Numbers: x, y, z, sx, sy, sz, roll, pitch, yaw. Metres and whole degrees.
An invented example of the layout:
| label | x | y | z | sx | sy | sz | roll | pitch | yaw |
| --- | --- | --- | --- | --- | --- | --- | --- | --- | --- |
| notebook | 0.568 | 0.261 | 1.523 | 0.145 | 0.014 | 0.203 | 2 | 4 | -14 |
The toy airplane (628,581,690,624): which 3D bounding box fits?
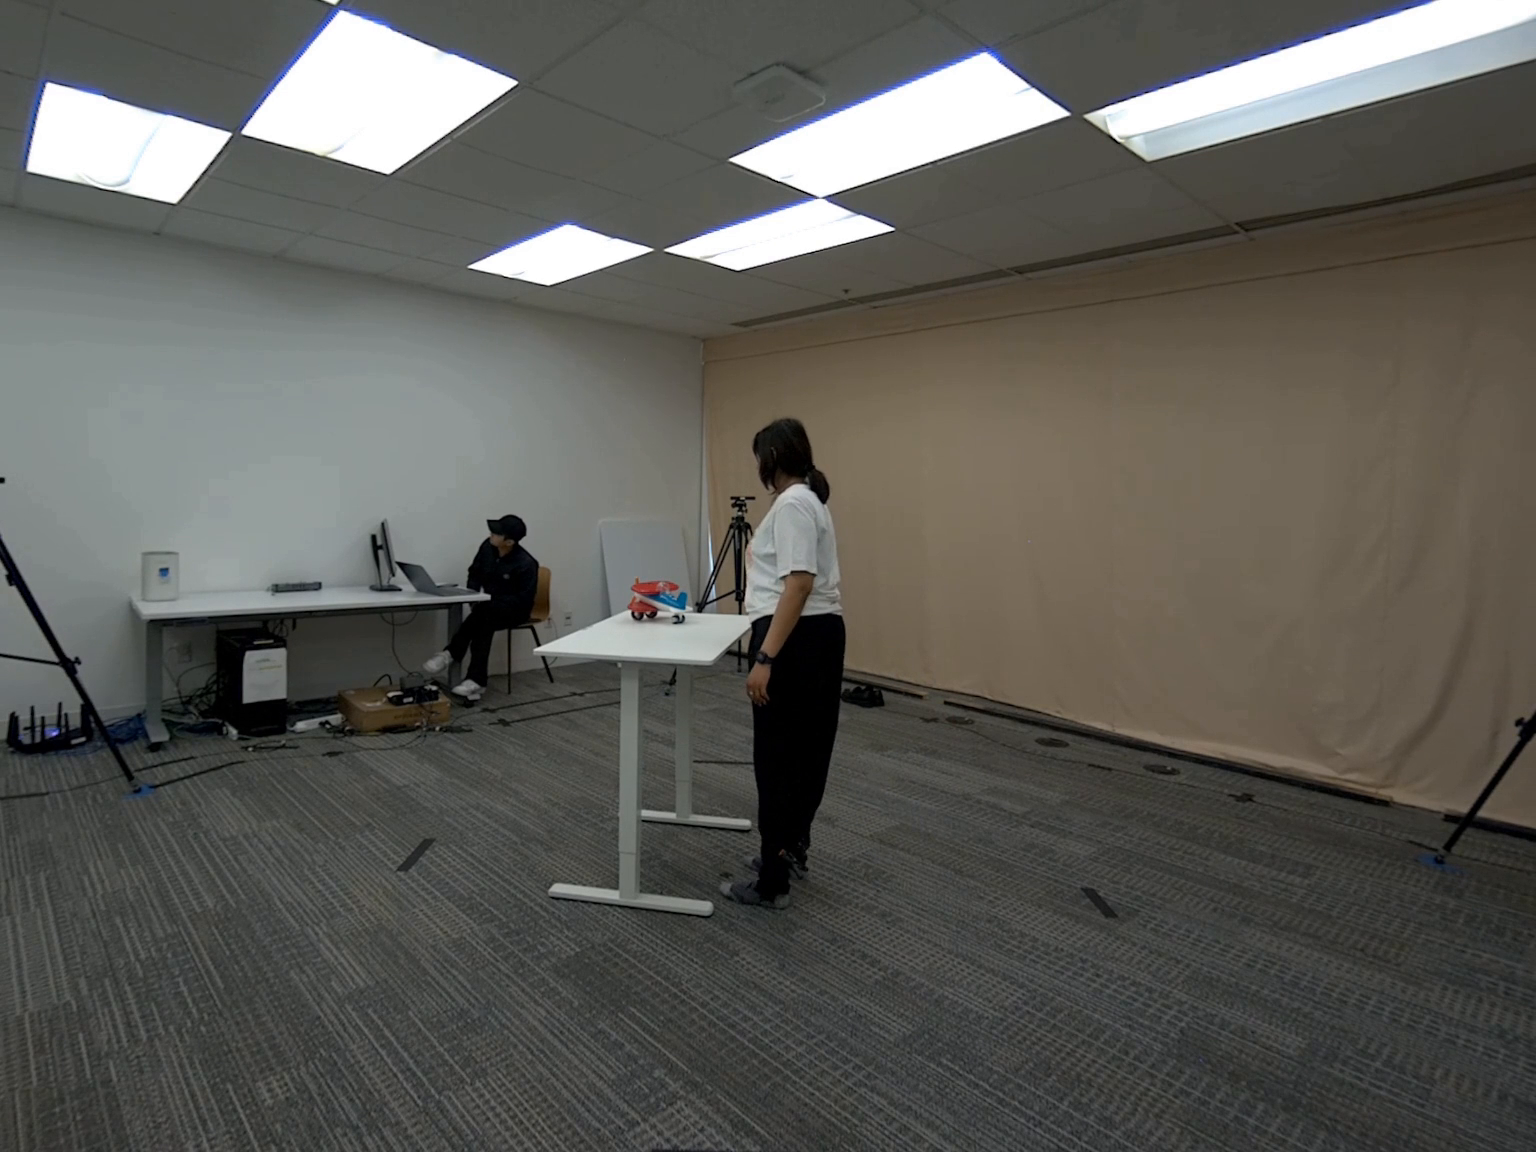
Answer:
| label | x | y | z | sx | sy | sz | roll | pitch | yaw |
| --- | --- | --- | --- | --- | --- | --- | --- | --- | --- |
| toy airplane | -0.445 | 0.104 | 3.454 | 0.260 | 0.156 | 0.251 | -1 | 5 | 5 |
